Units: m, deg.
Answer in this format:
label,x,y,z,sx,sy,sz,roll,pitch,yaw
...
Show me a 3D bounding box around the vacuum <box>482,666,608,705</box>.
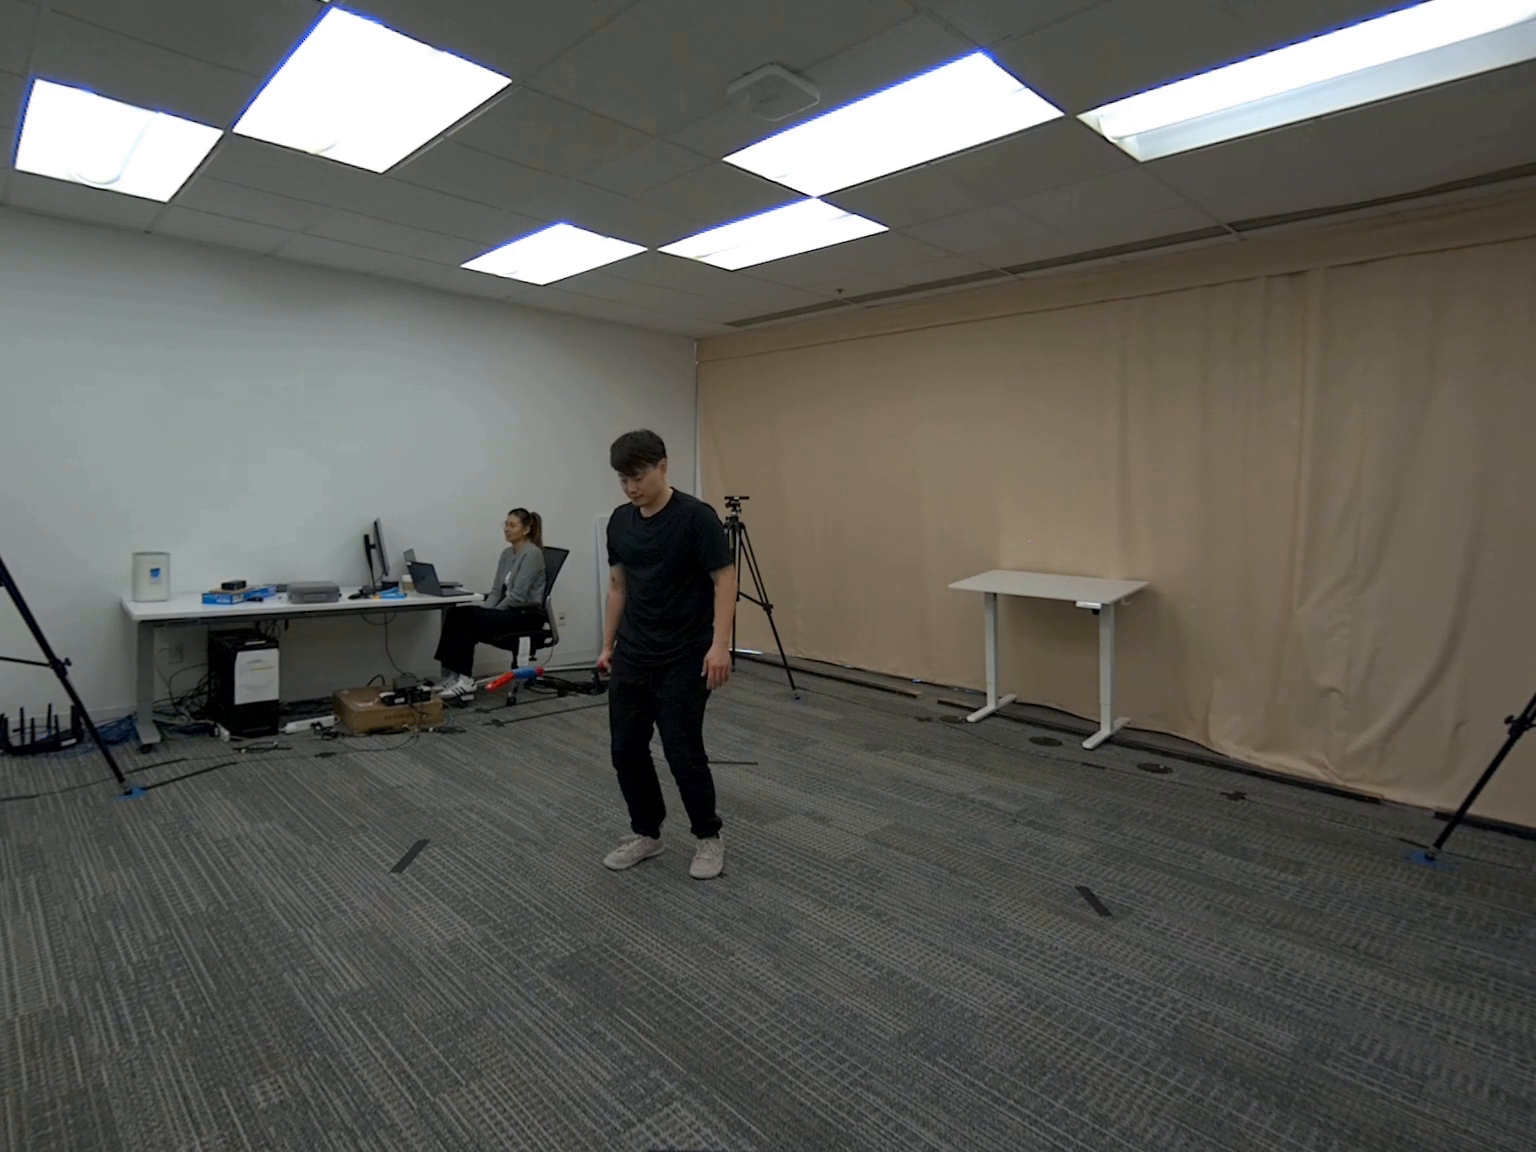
label,x,y,z,sx,sy,sz,roll,pitch,yaw
vacuum,-0.695,0.396,3.238,0.259,0.143,1.025,17,6,30
